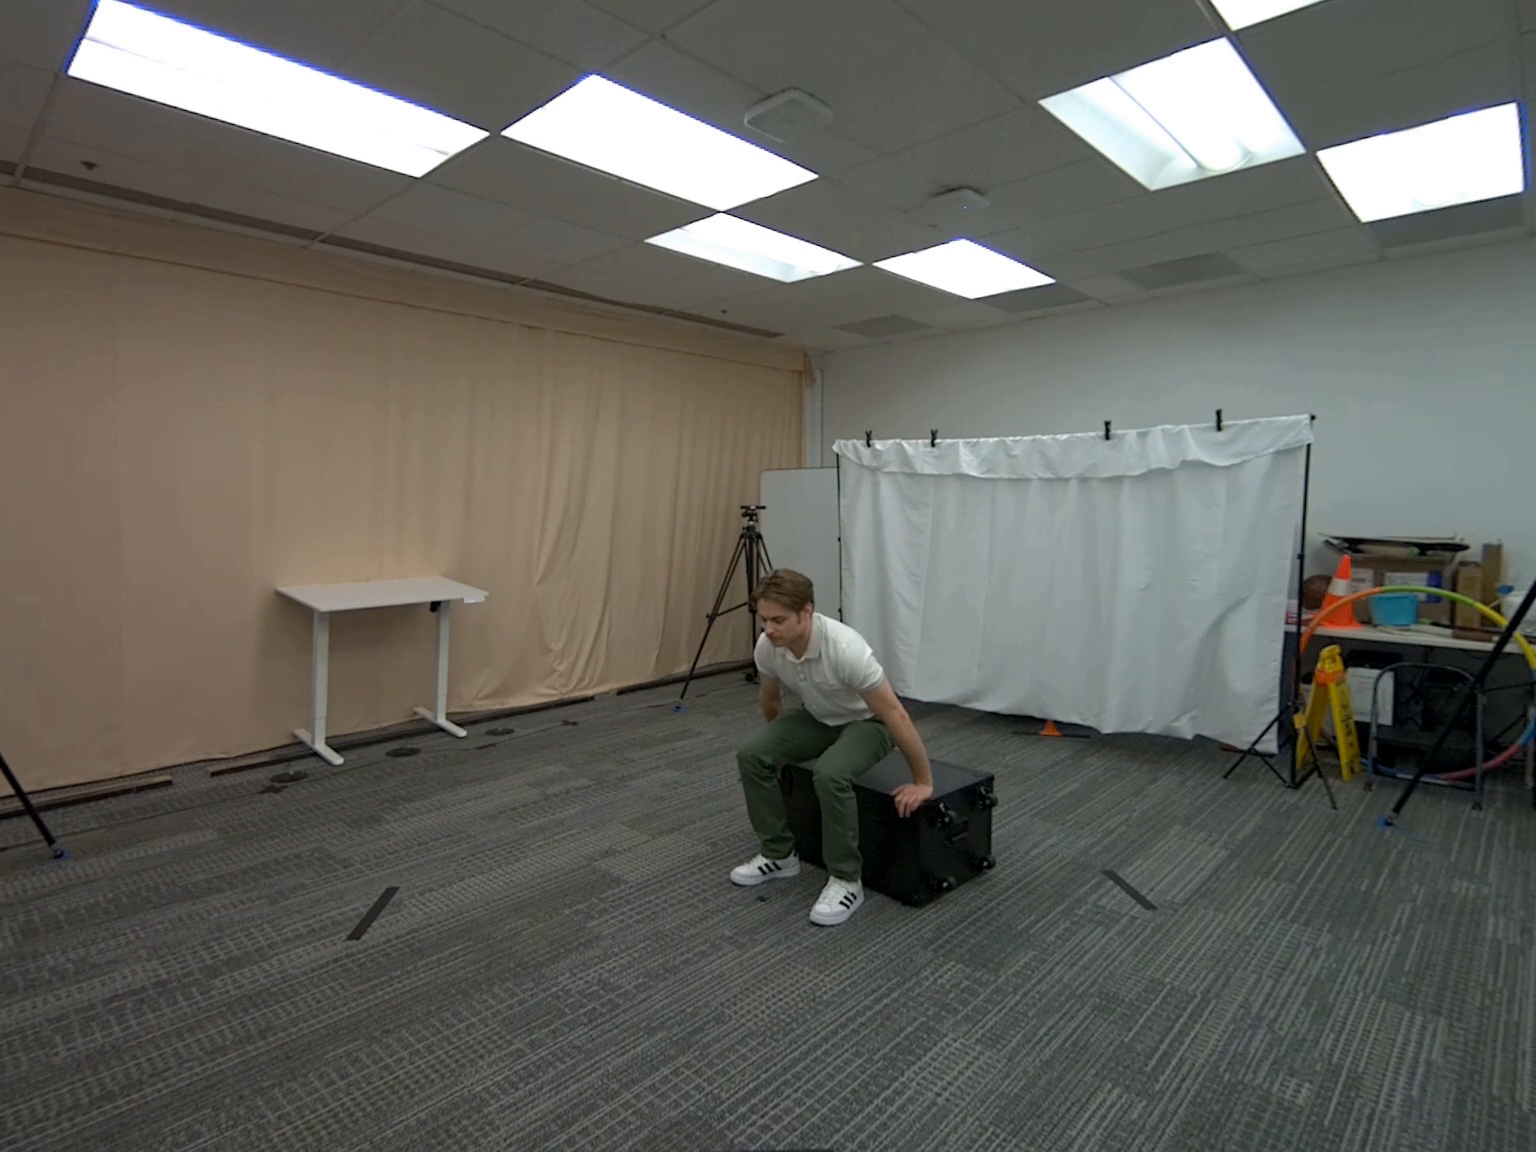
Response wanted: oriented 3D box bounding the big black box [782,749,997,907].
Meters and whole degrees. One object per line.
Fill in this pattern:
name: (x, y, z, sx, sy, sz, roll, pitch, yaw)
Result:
big black box: (0.434, 0.923, 3.292, 0.507, 0.384, 0.897, -2, 4, -44)
